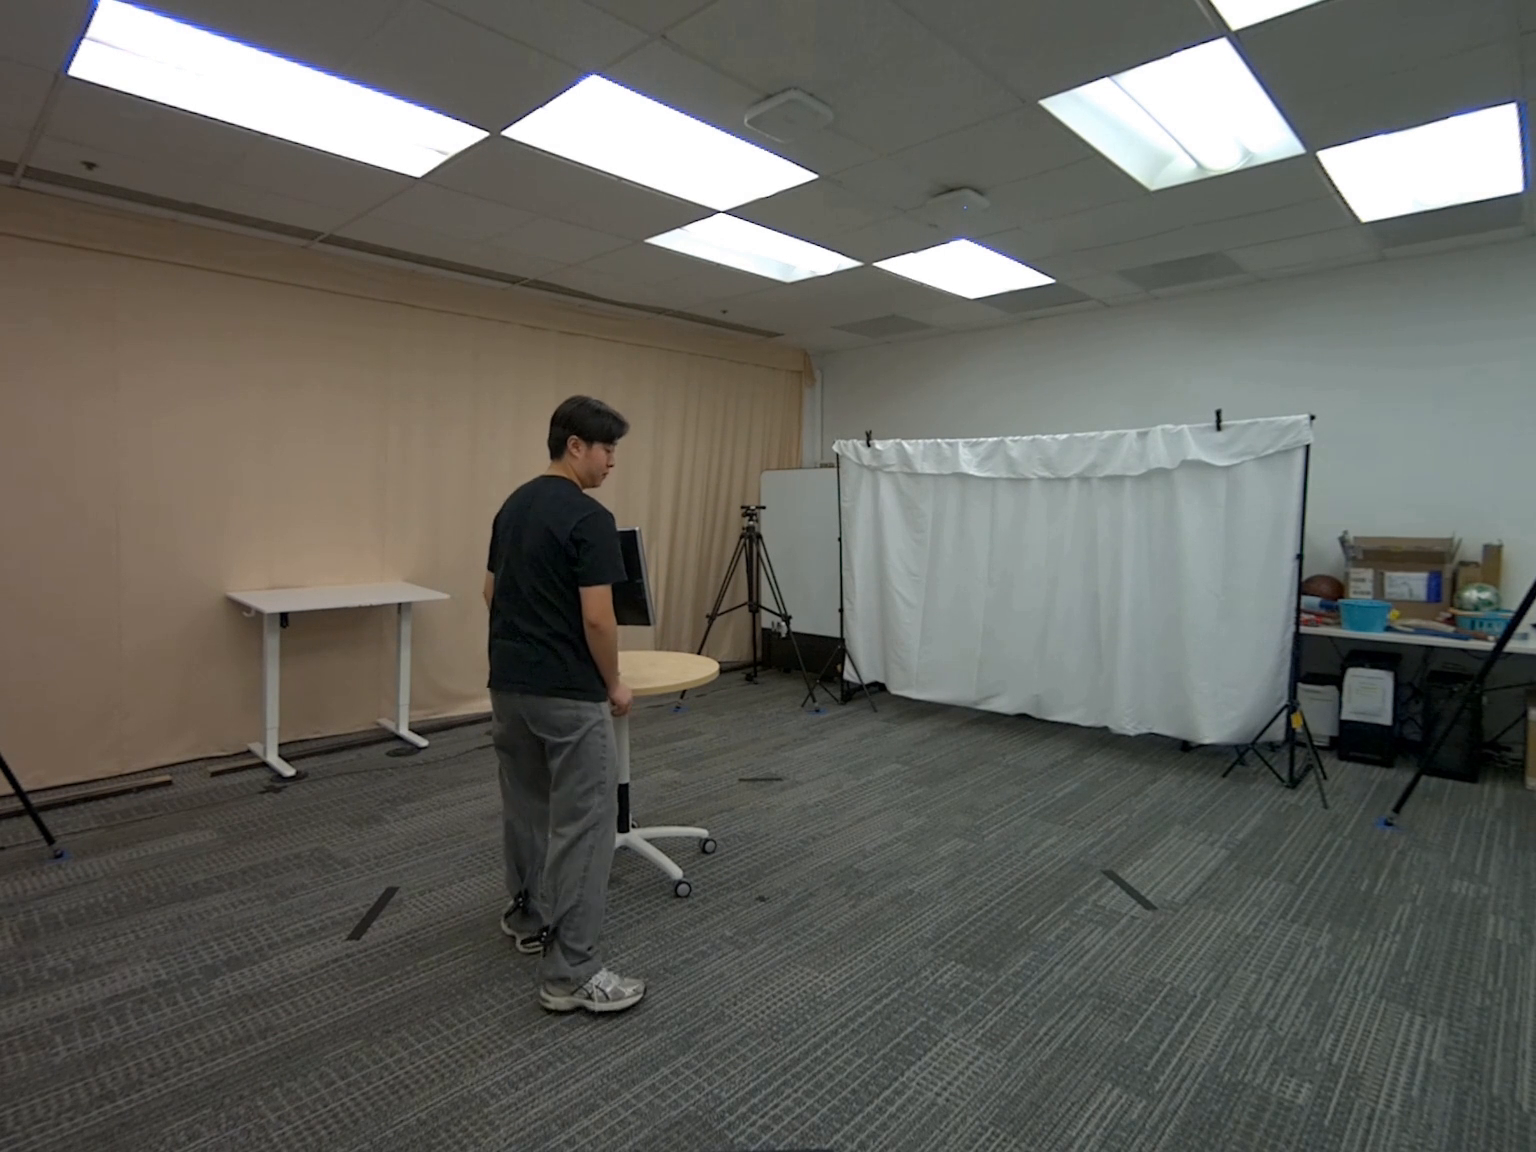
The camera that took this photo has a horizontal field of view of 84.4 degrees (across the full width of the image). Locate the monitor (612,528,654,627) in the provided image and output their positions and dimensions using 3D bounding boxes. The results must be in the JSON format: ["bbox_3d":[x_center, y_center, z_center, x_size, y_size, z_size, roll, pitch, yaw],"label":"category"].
[{"bbox_3d":[-0.695,0.108,3.062,0.577,0.565,0.216,1,2,28],"label":"monitor"}]
